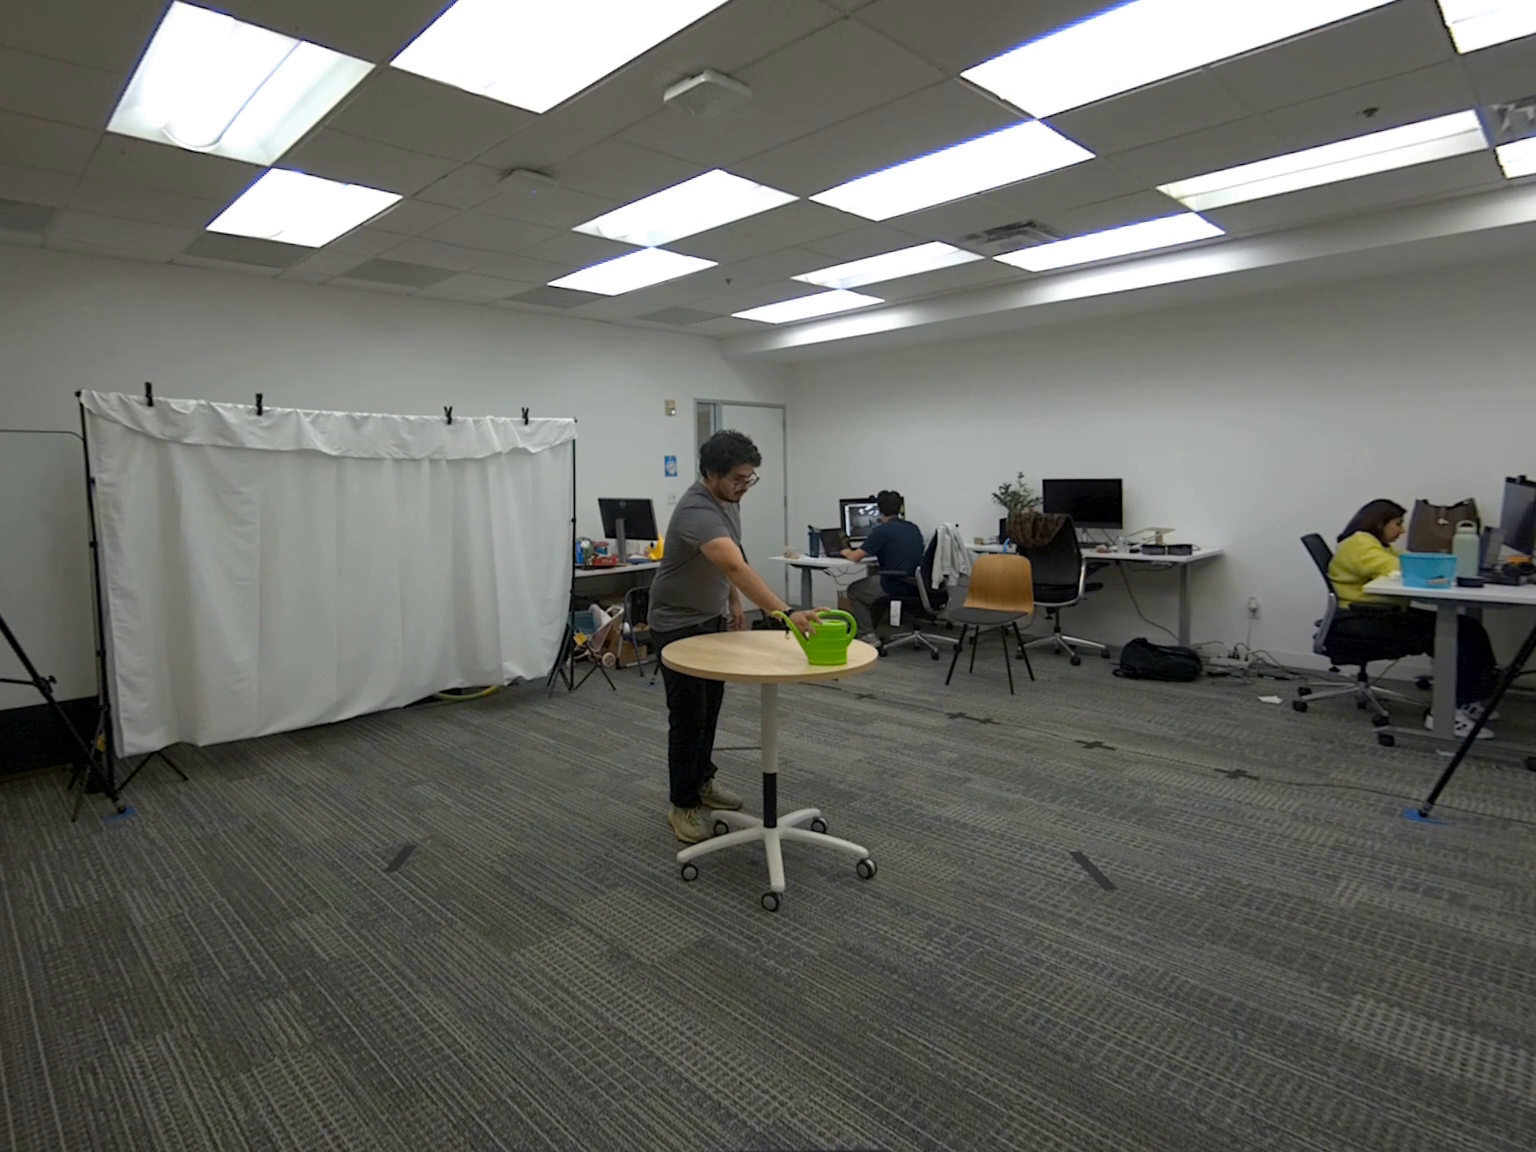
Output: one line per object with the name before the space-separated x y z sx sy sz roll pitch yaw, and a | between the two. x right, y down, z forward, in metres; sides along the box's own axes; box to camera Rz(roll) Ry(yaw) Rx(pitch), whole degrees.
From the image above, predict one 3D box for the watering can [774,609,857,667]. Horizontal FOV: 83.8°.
watering can | 0.162 0.203 2.836 0.279 0.176 0.098 3 5 4
